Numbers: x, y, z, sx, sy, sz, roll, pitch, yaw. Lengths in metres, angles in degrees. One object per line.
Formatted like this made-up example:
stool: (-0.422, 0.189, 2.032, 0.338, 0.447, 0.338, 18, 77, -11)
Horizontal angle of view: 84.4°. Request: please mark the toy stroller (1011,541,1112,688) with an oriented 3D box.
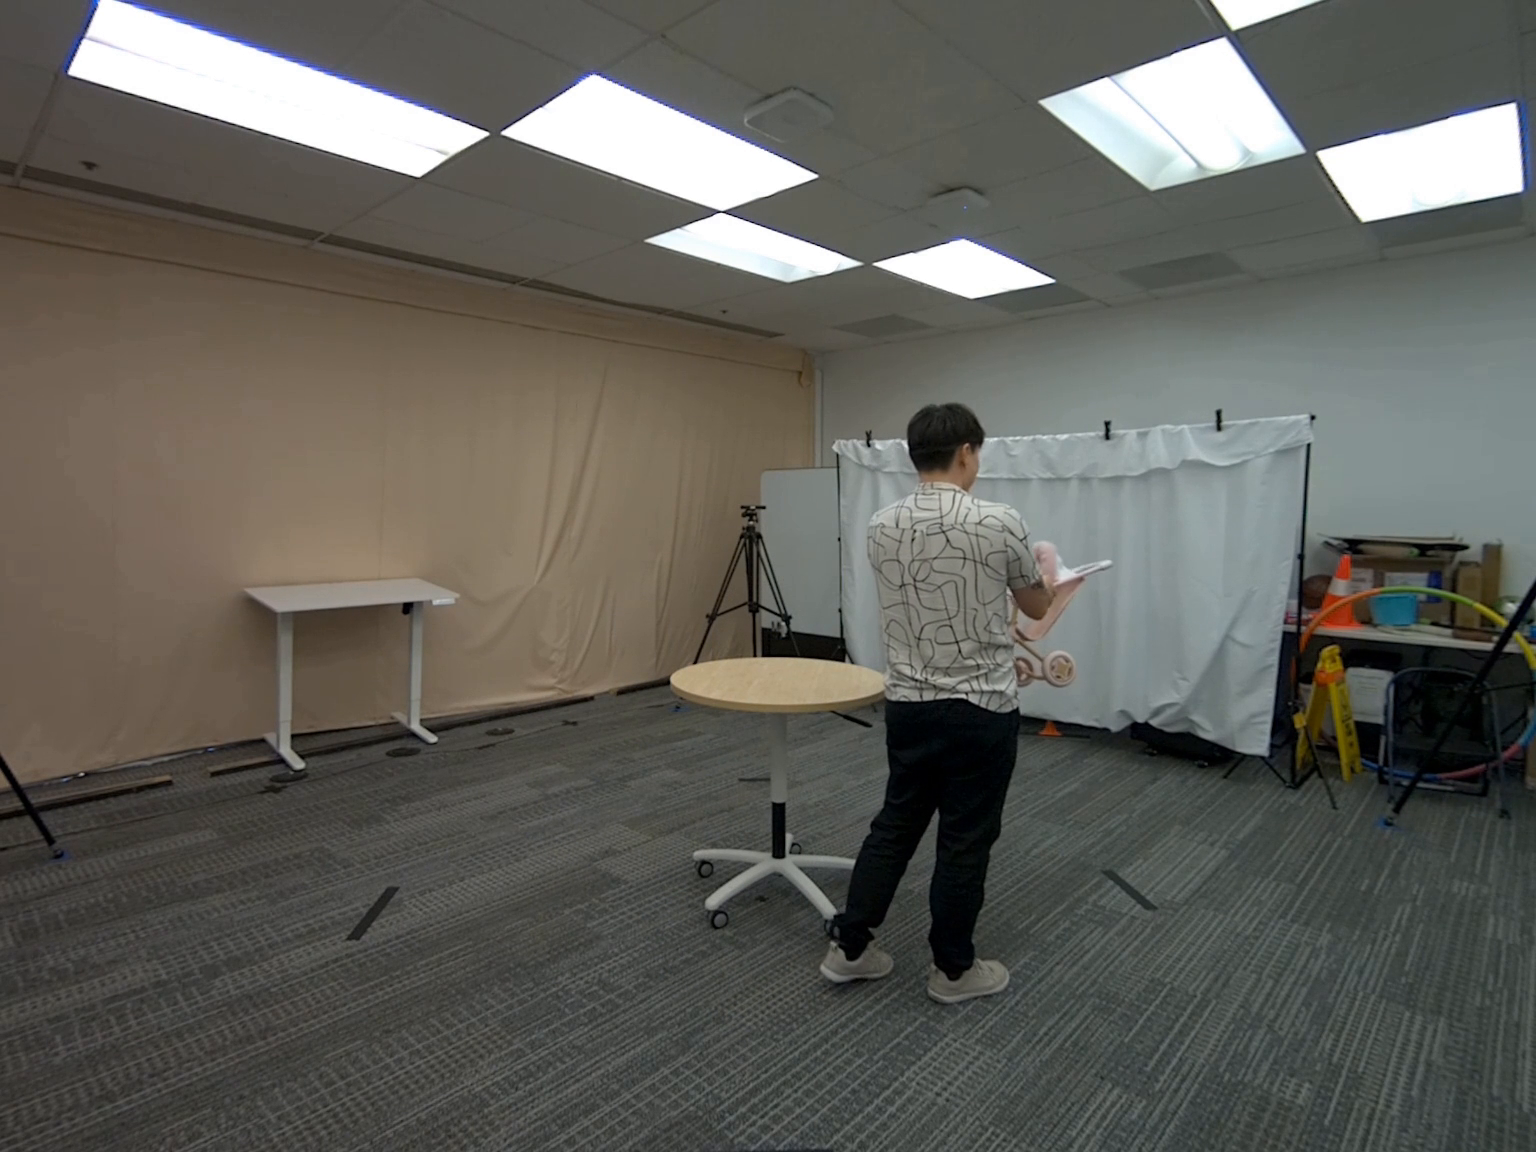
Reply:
toy stroller: (0.831, 0.116, 2.702, 0.342, 0.535, 0.281, 27, -10, 0)
